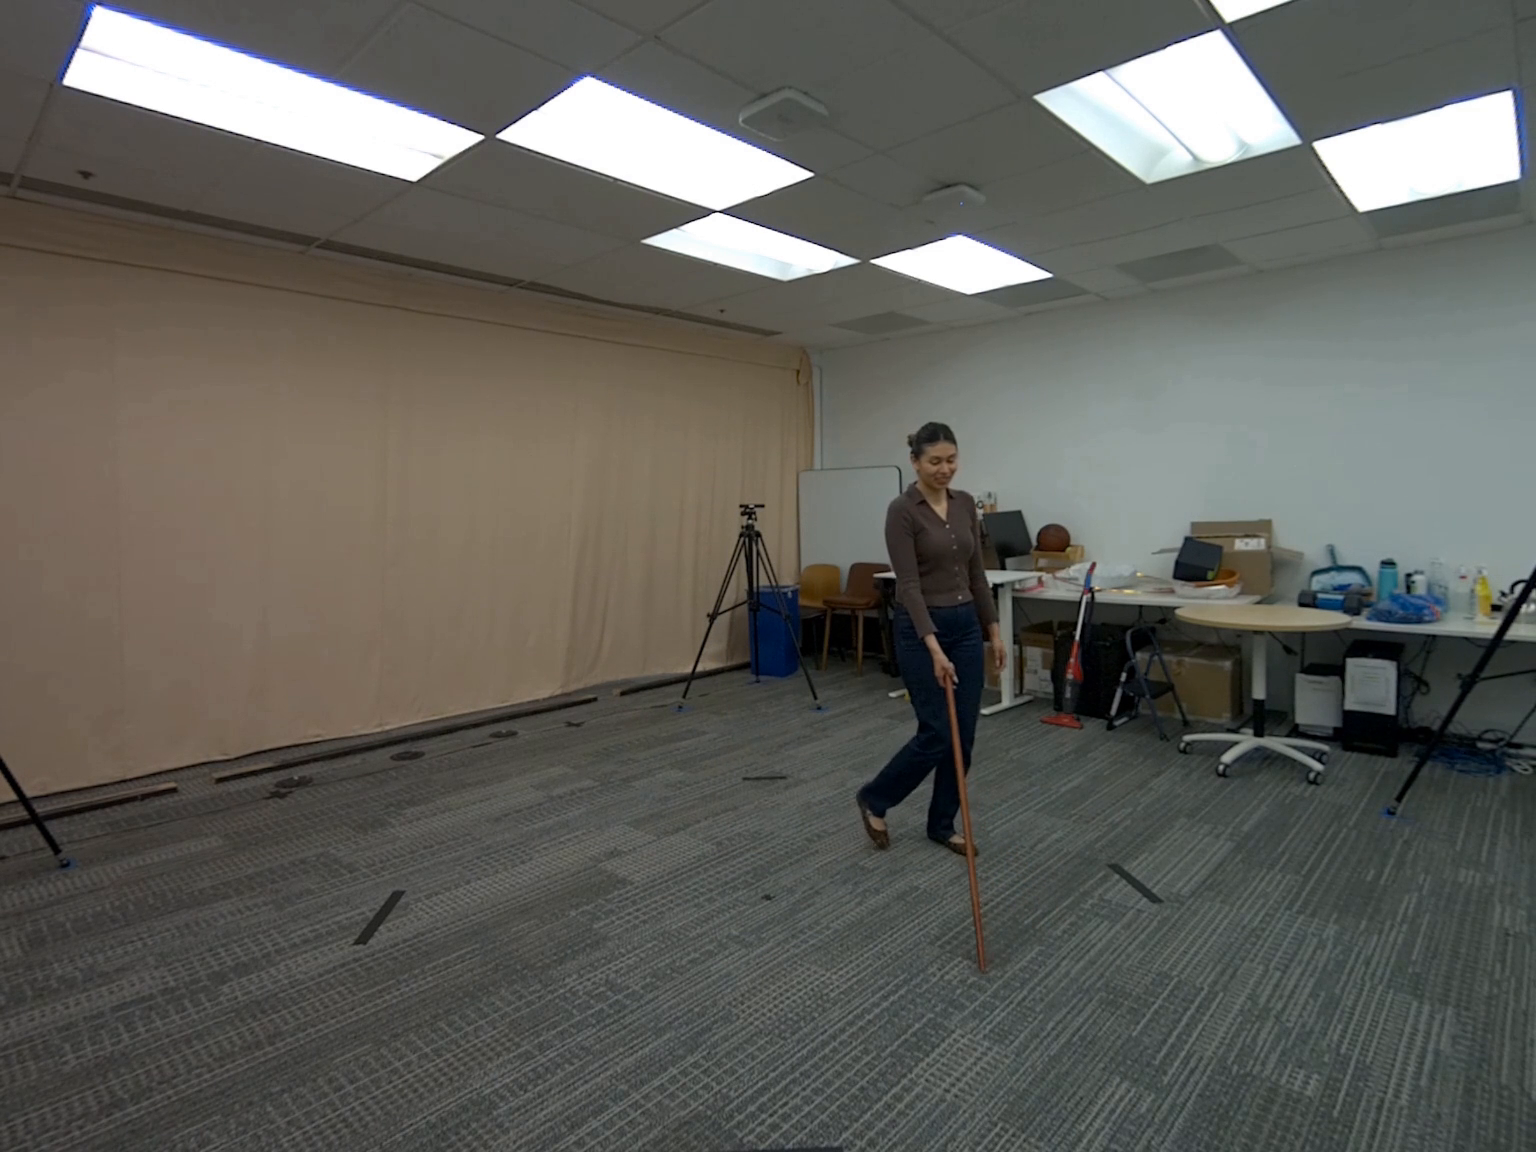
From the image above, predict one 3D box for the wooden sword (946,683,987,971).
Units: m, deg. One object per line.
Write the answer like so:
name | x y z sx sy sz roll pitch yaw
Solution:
wooden sword | 0.660 0.751 2.787 0.051 1.042 0.024 7 -35 -11
